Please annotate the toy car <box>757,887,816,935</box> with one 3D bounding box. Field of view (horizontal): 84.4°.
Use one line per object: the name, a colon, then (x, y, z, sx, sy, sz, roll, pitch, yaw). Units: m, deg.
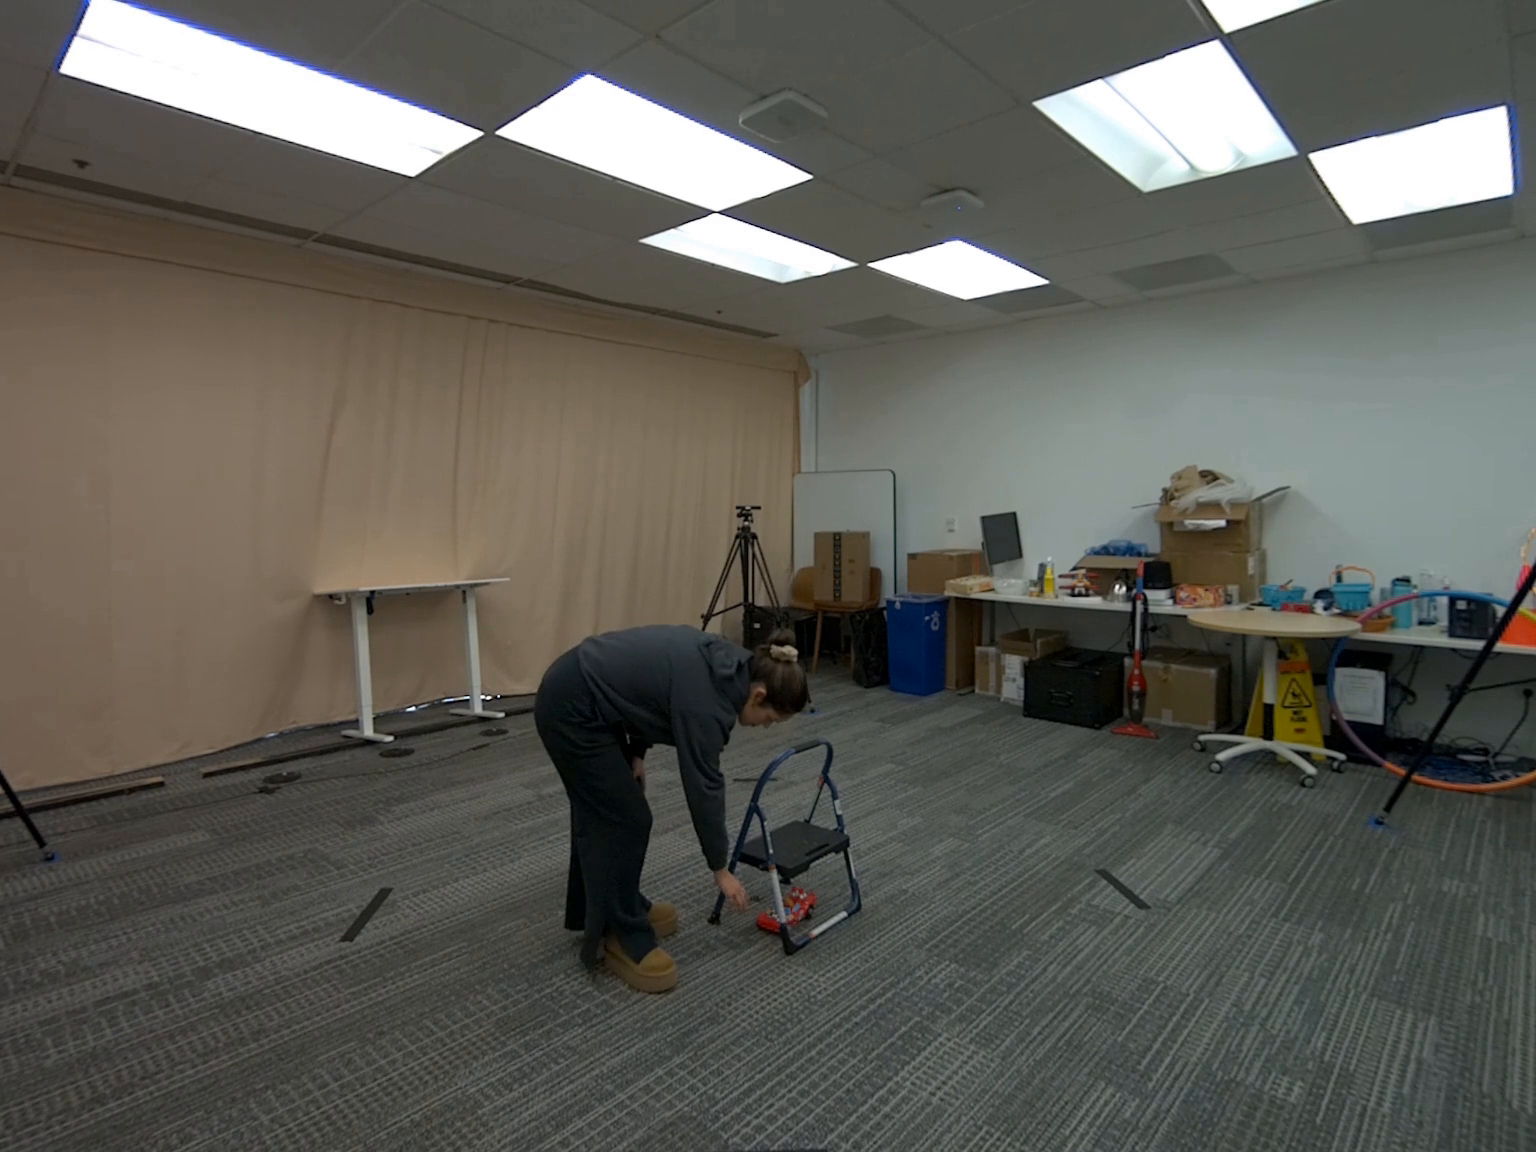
toy car: (0.096, 1.121, 2.828, 0.134, 0.082, 0.249, 2, 17, 34)
